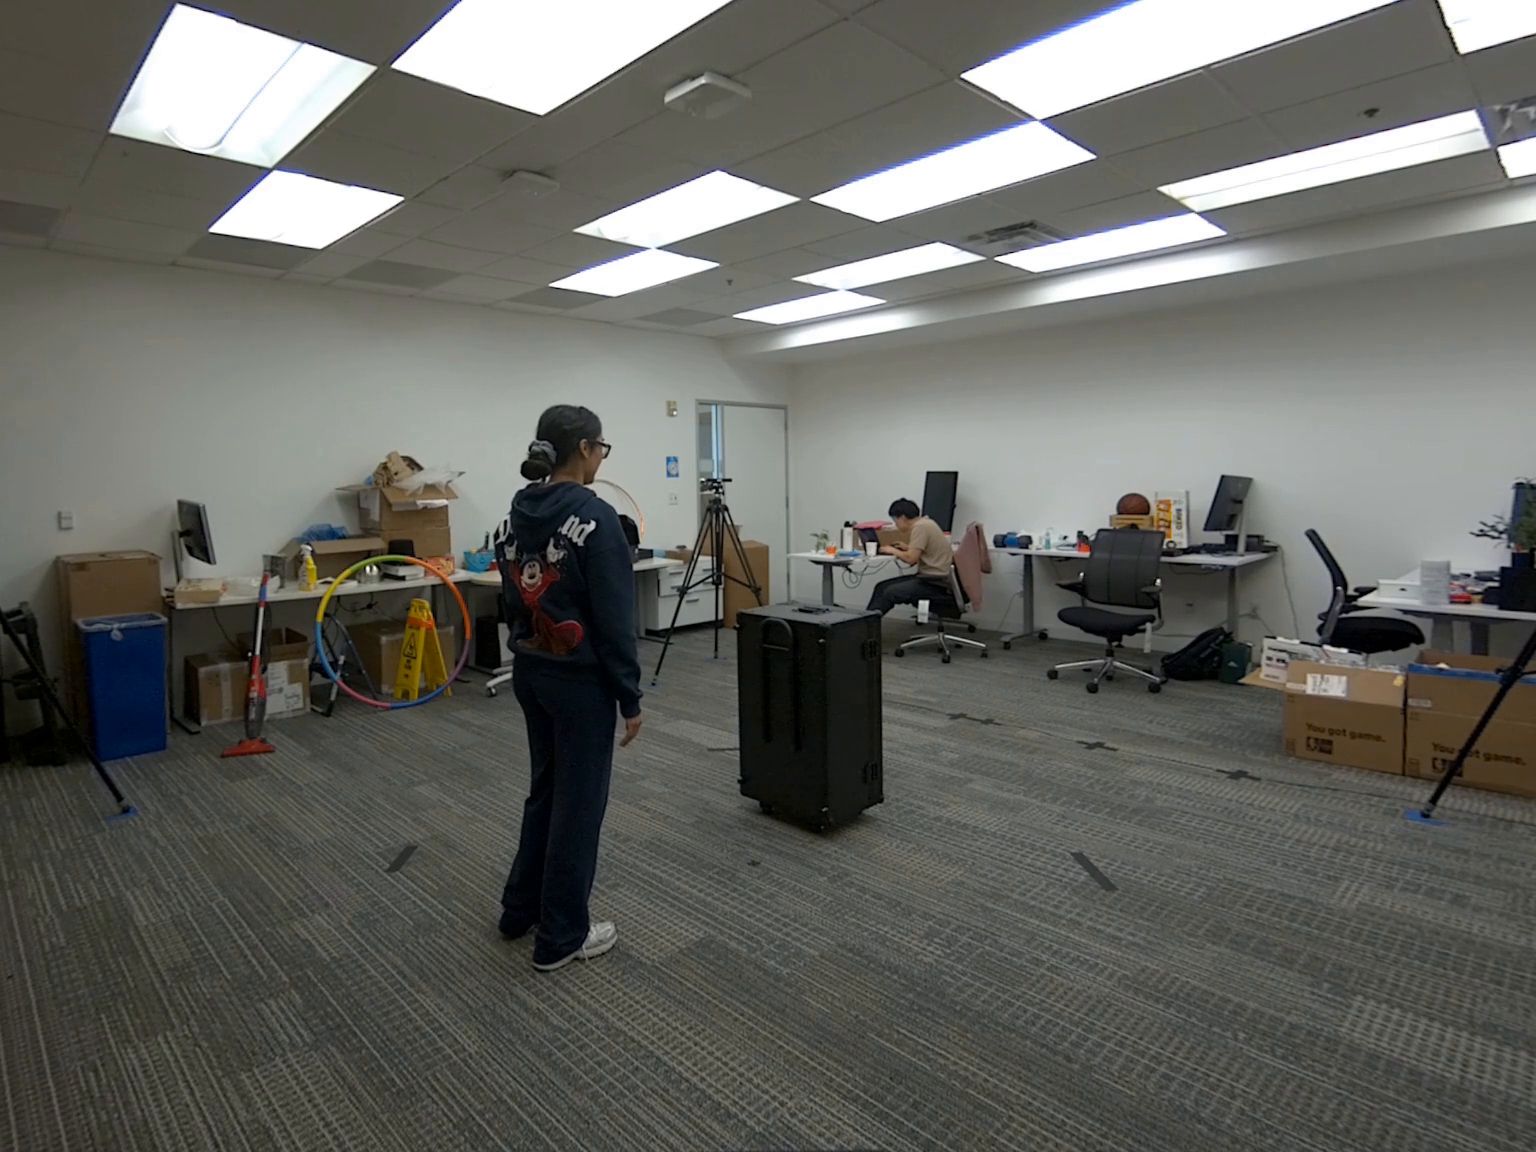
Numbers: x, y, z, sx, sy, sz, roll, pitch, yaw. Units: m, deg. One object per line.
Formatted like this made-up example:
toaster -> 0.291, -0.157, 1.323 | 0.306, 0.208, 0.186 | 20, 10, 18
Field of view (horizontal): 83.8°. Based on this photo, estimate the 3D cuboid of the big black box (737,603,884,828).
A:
big black box -> 0.170, 0.573, 3.509 | 0.386, 0.857, 0.537 | -7, 8, -44
